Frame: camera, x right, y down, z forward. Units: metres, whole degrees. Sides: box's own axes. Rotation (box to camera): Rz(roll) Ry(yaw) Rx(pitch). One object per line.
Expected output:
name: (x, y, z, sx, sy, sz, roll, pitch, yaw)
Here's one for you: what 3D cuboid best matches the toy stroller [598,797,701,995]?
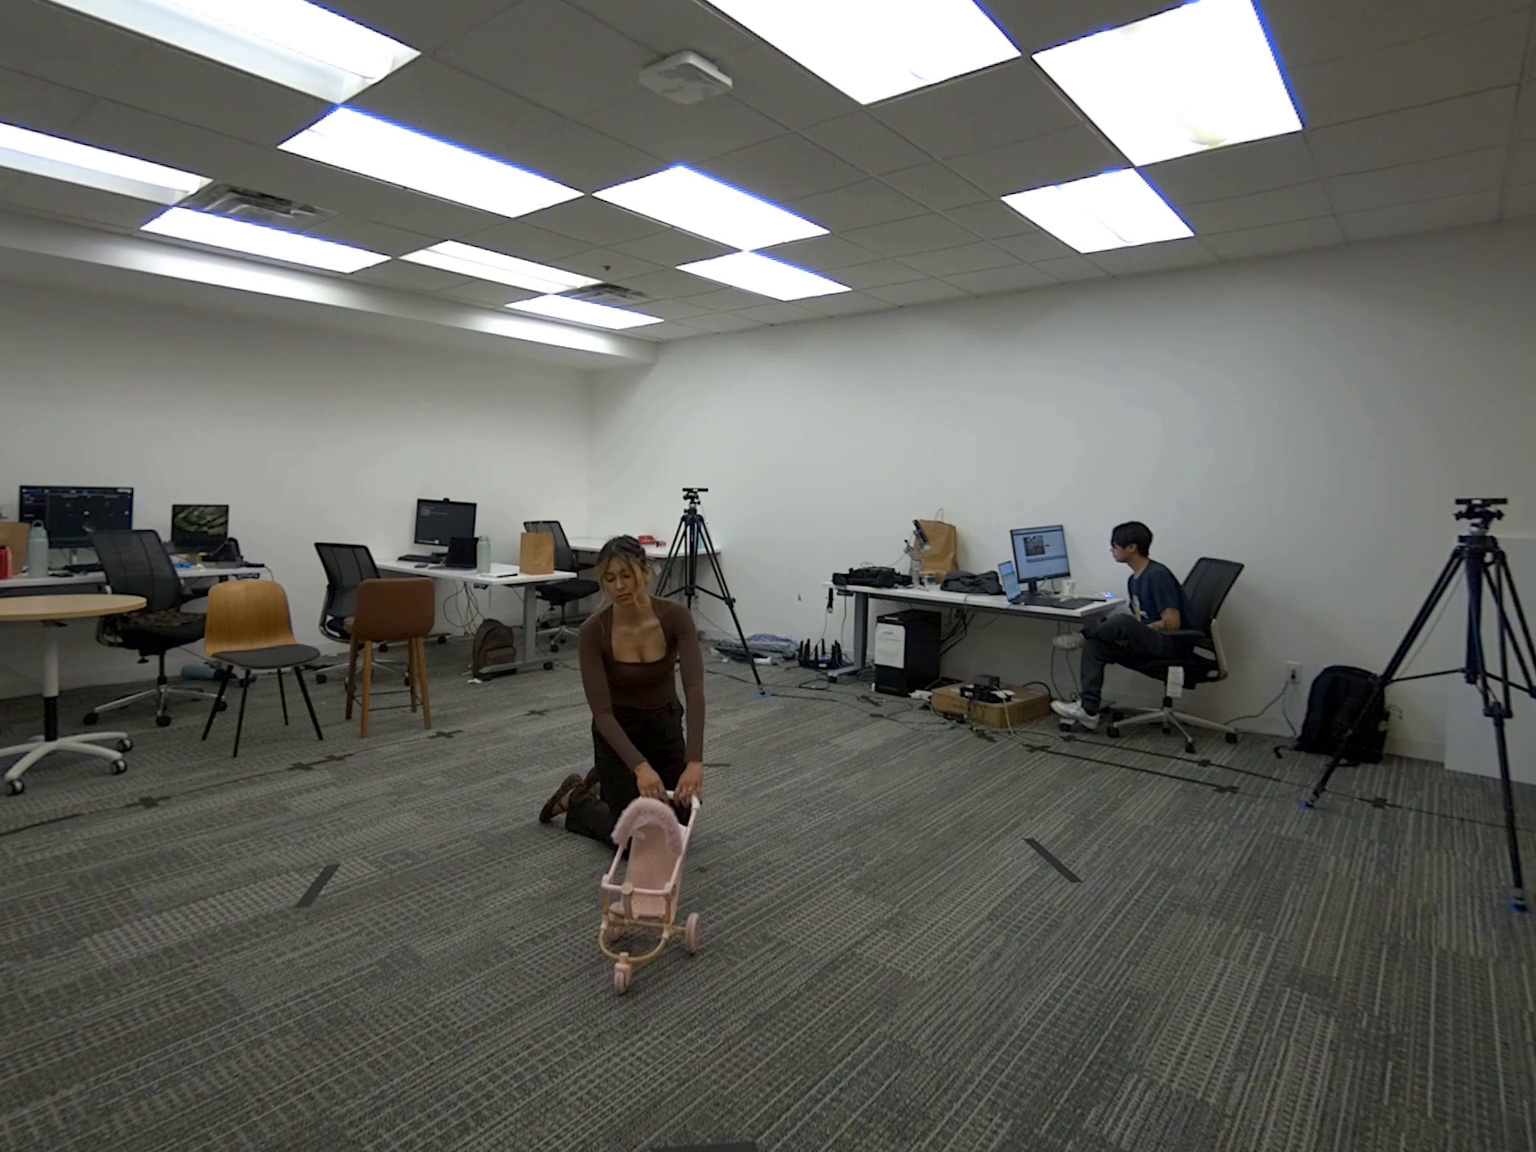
toy stroller: (-0.365, 0.902, 2.525, 0.287, 0.542, 0.330, 0, -15, 18)
